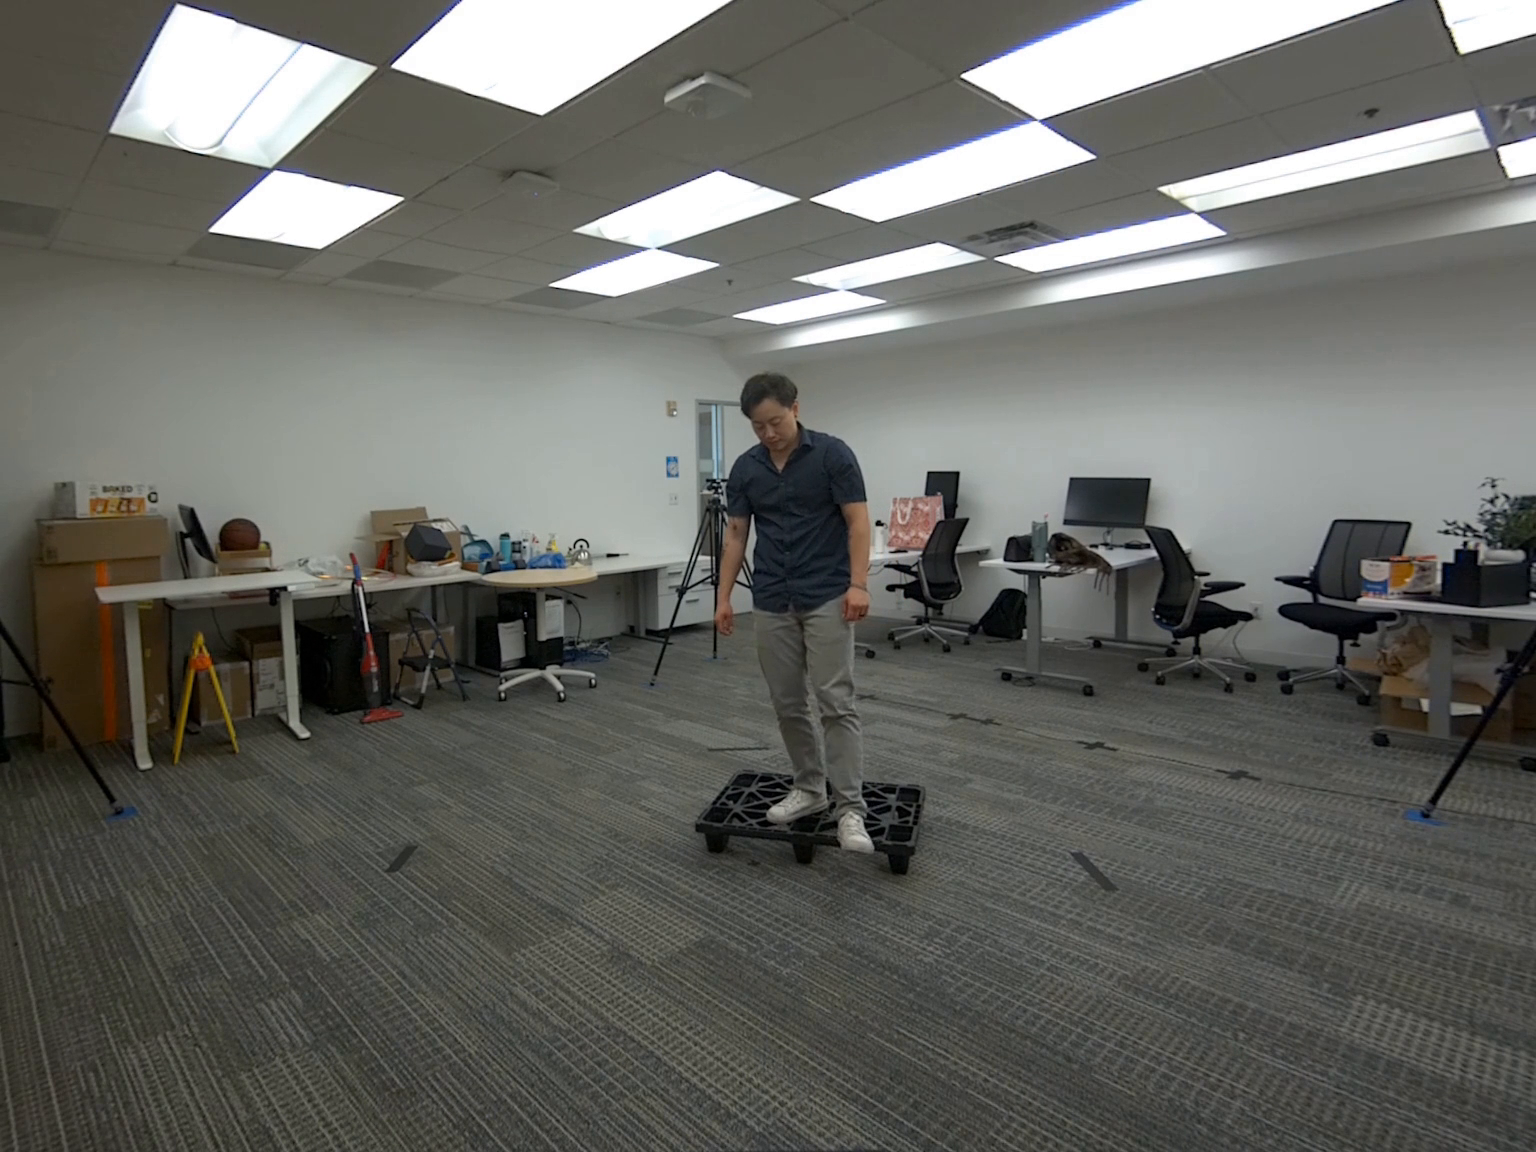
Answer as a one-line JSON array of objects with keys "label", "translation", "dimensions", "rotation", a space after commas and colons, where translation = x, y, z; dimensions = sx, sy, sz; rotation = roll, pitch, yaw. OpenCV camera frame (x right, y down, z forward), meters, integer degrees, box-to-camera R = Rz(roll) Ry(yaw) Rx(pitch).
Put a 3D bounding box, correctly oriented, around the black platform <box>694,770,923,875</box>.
[{"label": "black platform", "translation": [0.184, 0.948, 3.323], "dimensions": [0.818, 0.143, 0.598], "rotation": [1, 6, 16]}]
